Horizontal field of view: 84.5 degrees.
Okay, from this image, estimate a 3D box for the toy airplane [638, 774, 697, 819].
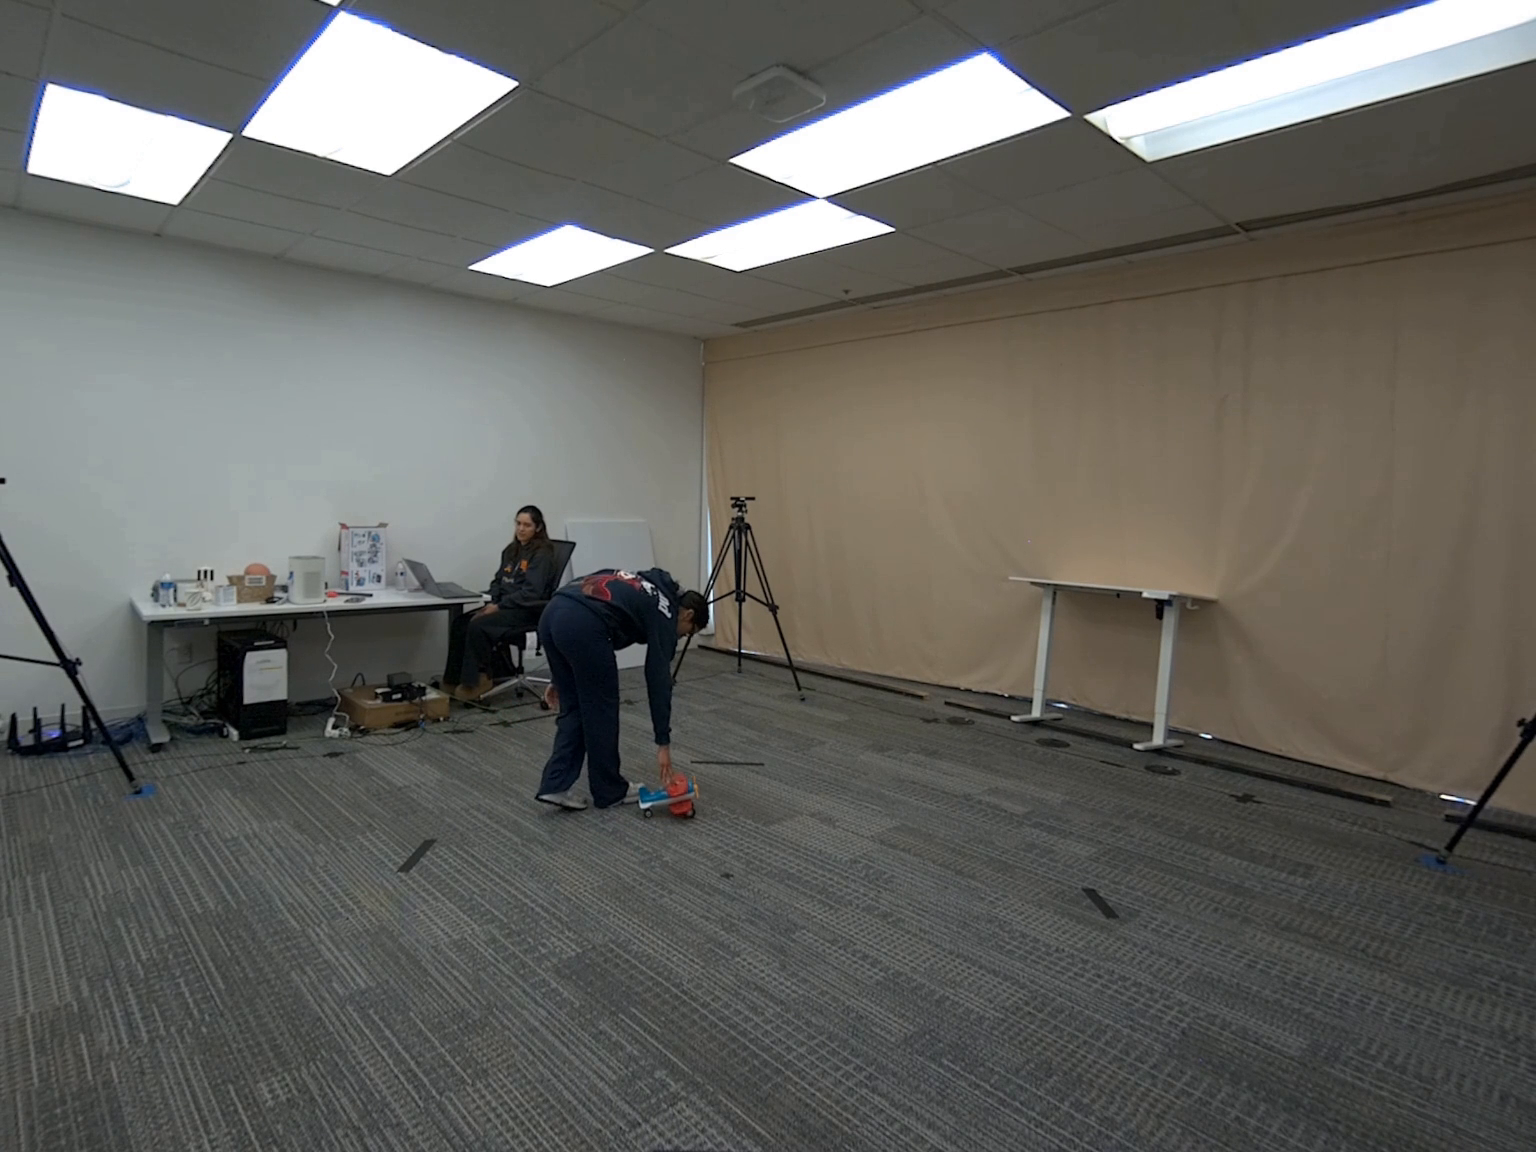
[{"bbox_3d":[-0.441,0.978,3.670,0.253,0.156,0.257,-1,4,-36],"label":"toy airplane"}]
